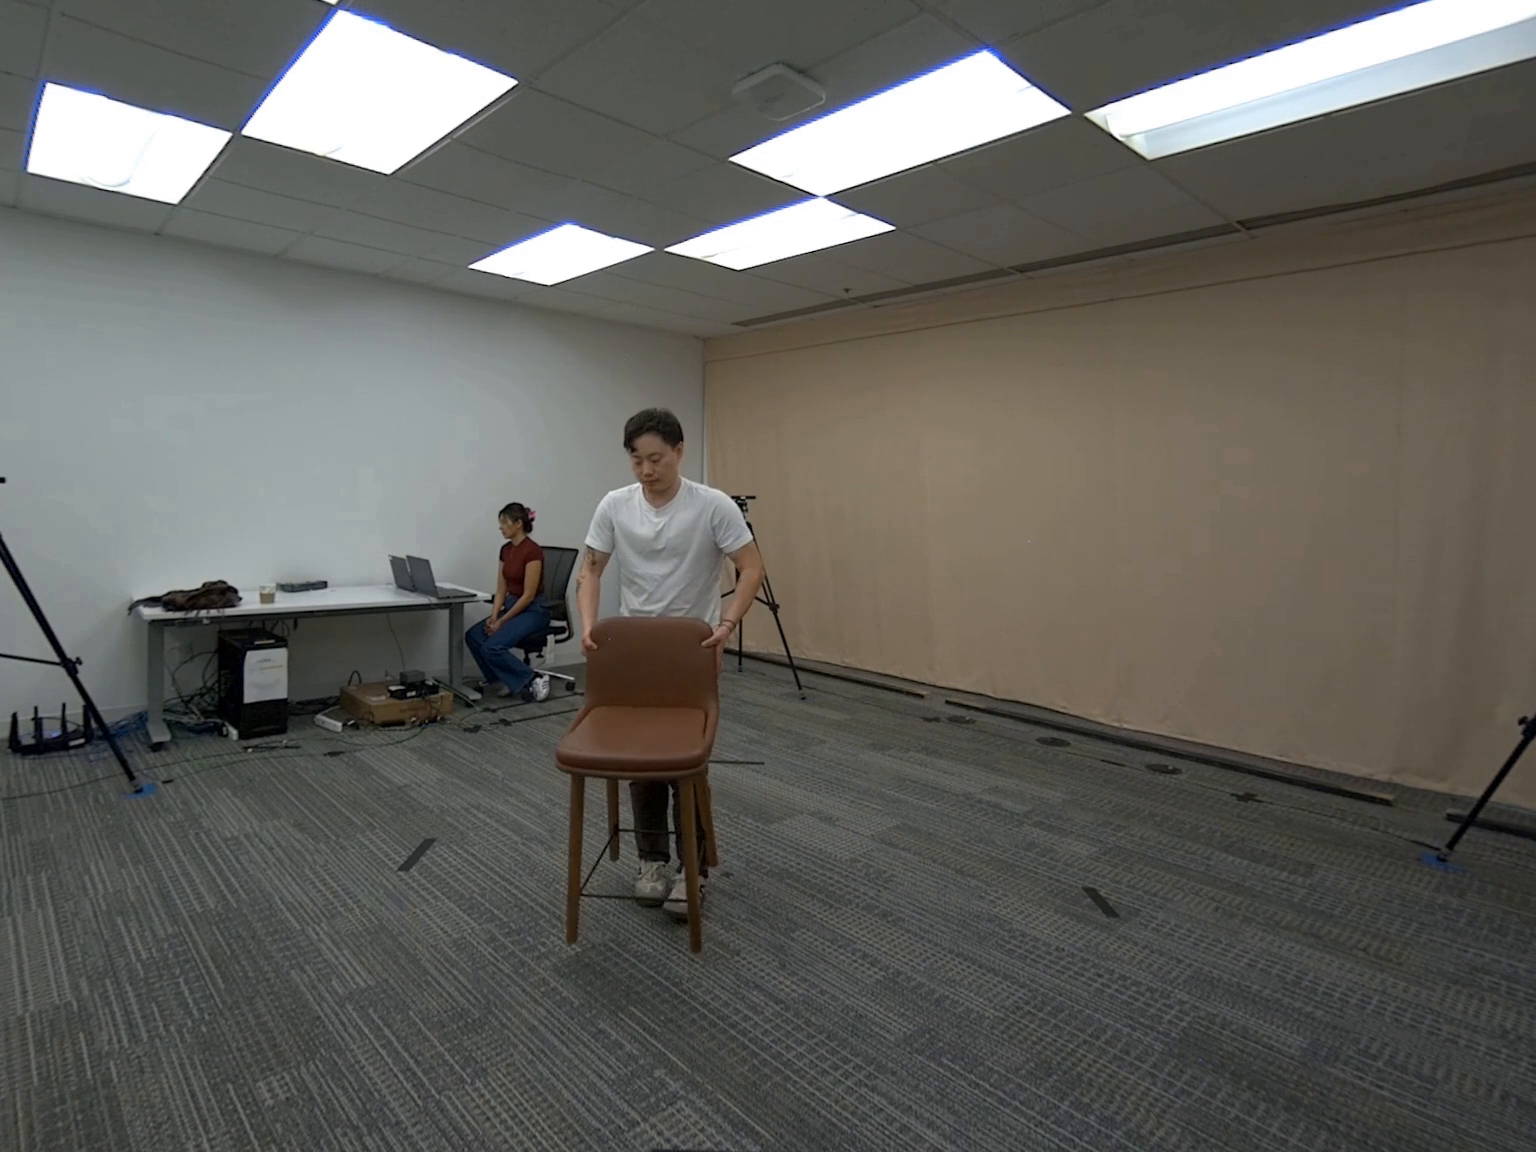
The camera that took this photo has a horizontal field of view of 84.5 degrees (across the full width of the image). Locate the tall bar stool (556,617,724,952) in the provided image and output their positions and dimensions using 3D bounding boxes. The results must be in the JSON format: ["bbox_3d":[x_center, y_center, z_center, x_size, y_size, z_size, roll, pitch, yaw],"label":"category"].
[{"bbox_3d":[-0.392,0.624,2.598,0.459,0.883,0.469,1,11,6],"label":"tall bar stool"}]
